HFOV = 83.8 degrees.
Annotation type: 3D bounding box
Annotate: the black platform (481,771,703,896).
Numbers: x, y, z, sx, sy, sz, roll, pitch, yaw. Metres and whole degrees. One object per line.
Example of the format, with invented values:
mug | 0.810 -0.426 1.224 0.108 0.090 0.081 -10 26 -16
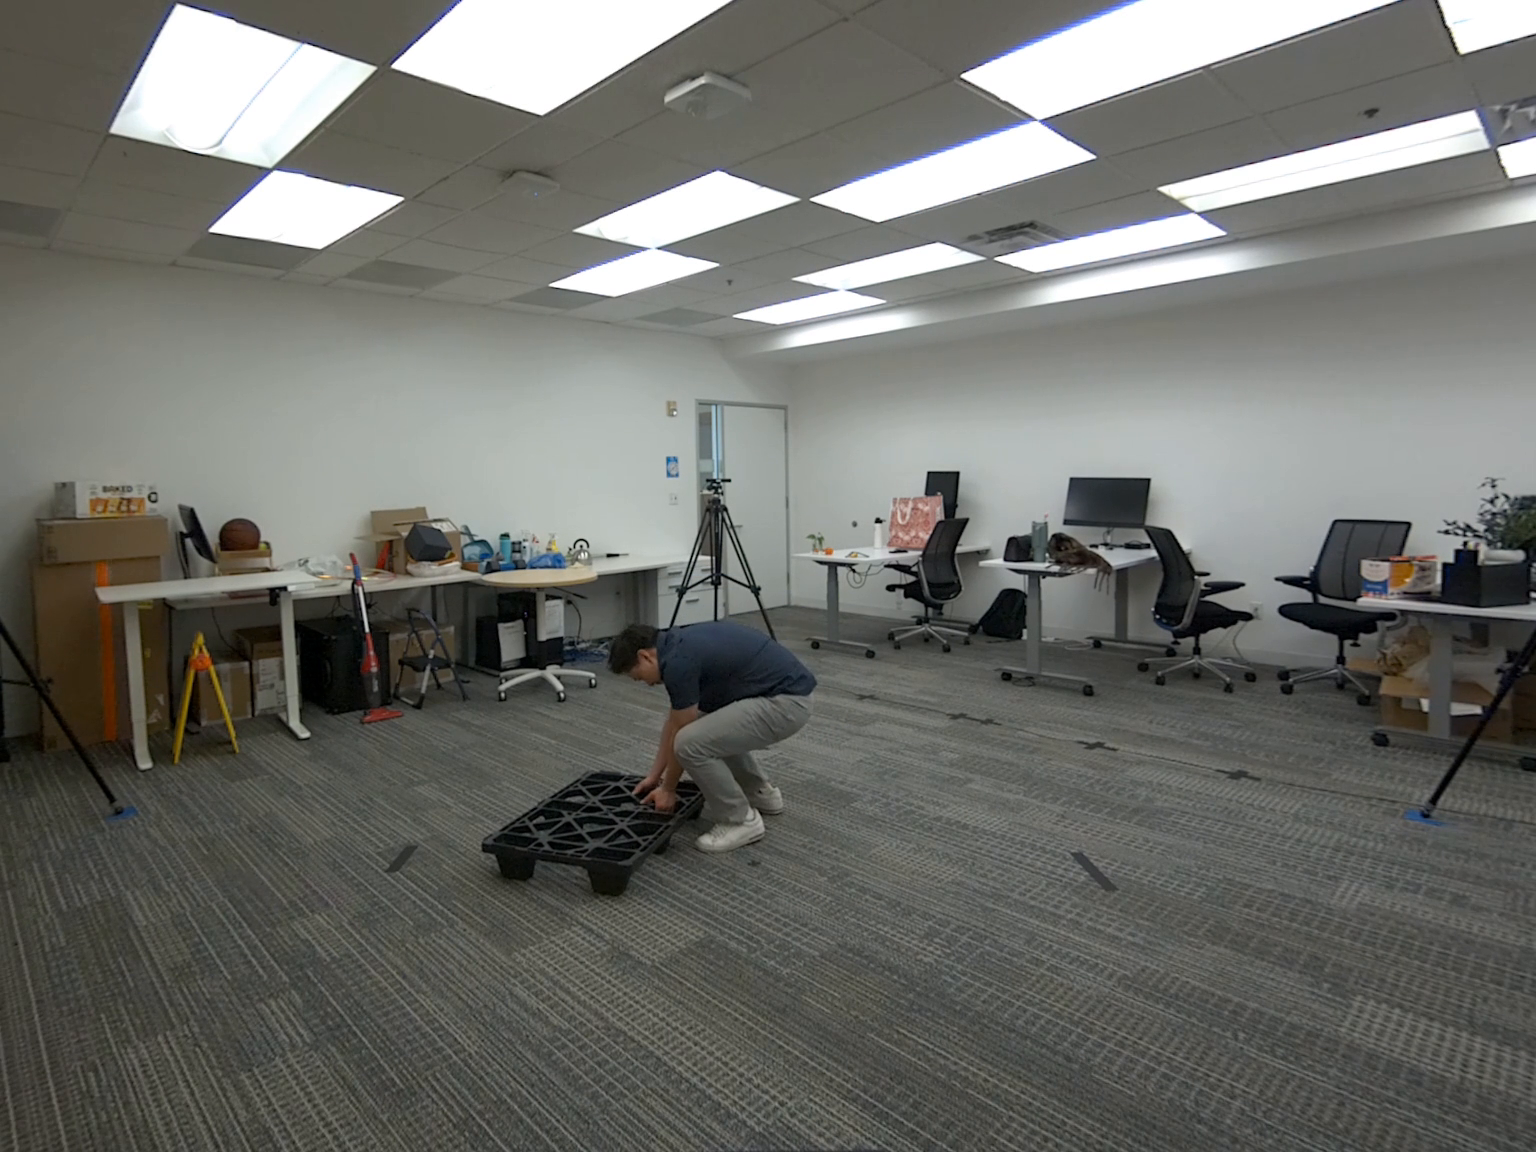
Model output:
black platform | -0.609 0.965 3.291 0.616 0.142 0.795 1 7 19
